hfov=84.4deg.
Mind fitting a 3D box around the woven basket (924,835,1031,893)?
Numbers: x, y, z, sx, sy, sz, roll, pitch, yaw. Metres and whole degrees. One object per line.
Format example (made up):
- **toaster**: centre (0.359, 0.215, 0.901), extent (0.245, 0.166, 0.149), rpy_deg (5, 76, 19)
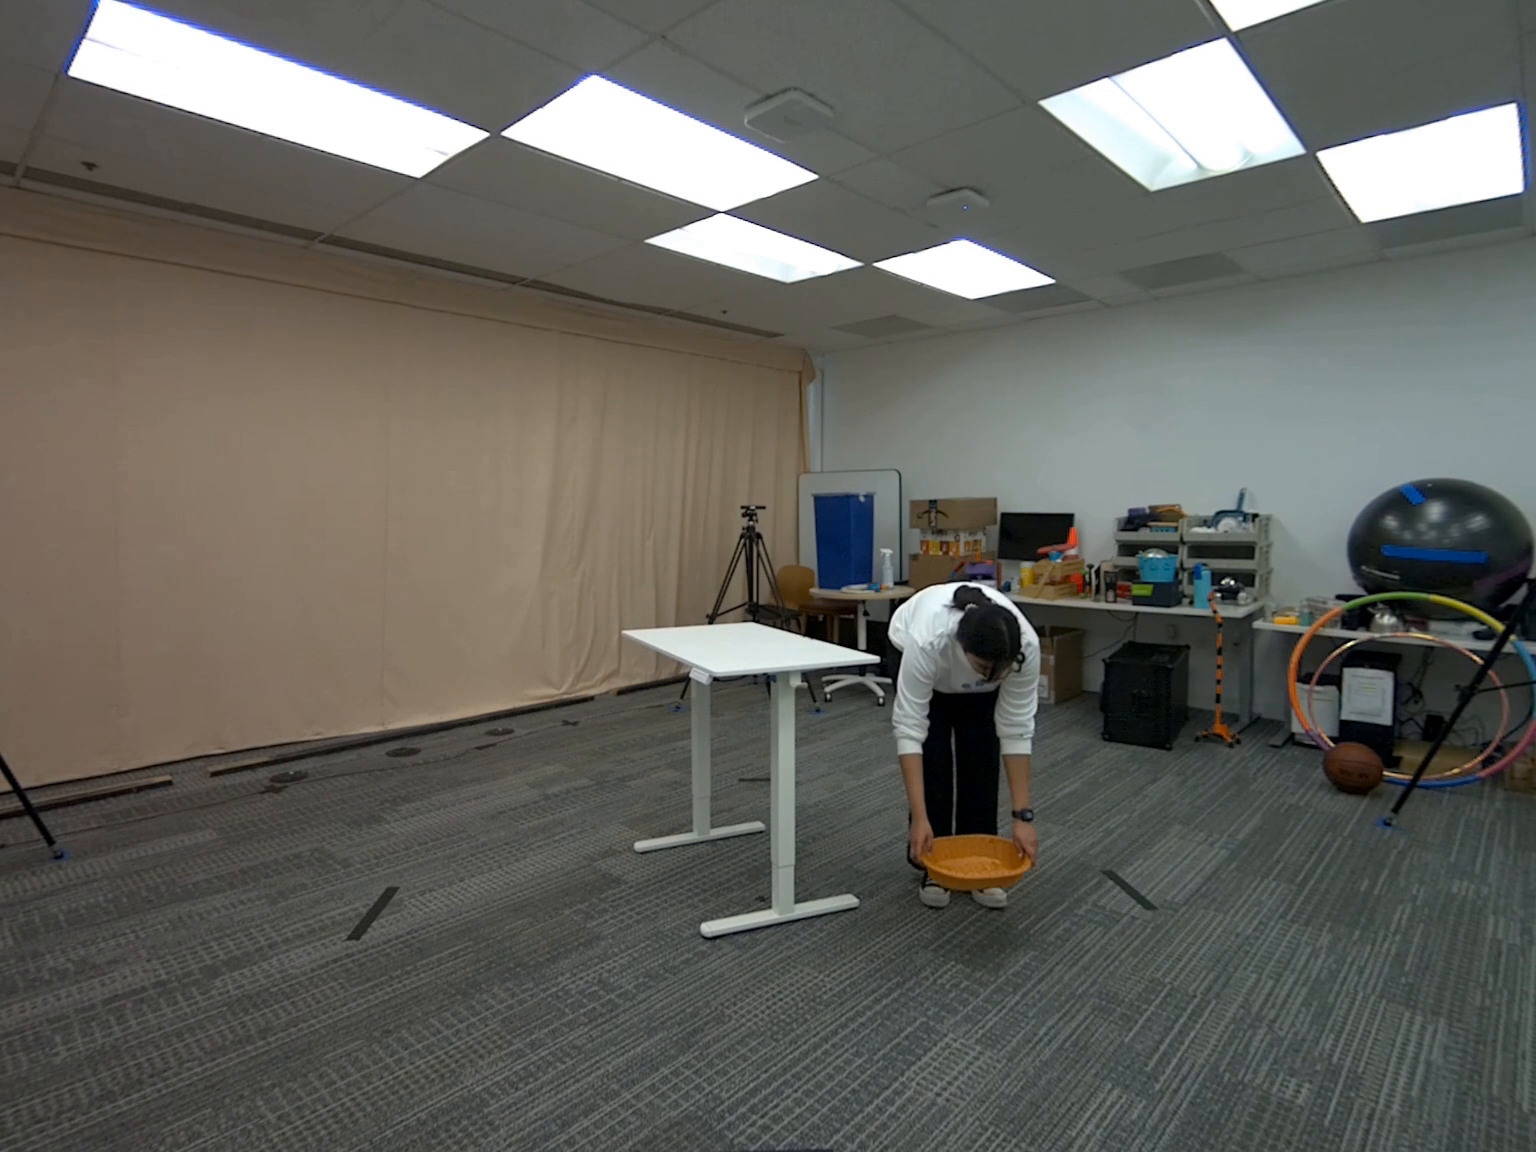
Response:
- **woven basket**: centre (0.672, 0.907, 2.654), extent (0.349, 0.073, 0.255), rpy_deg (-2, 9, -5)
